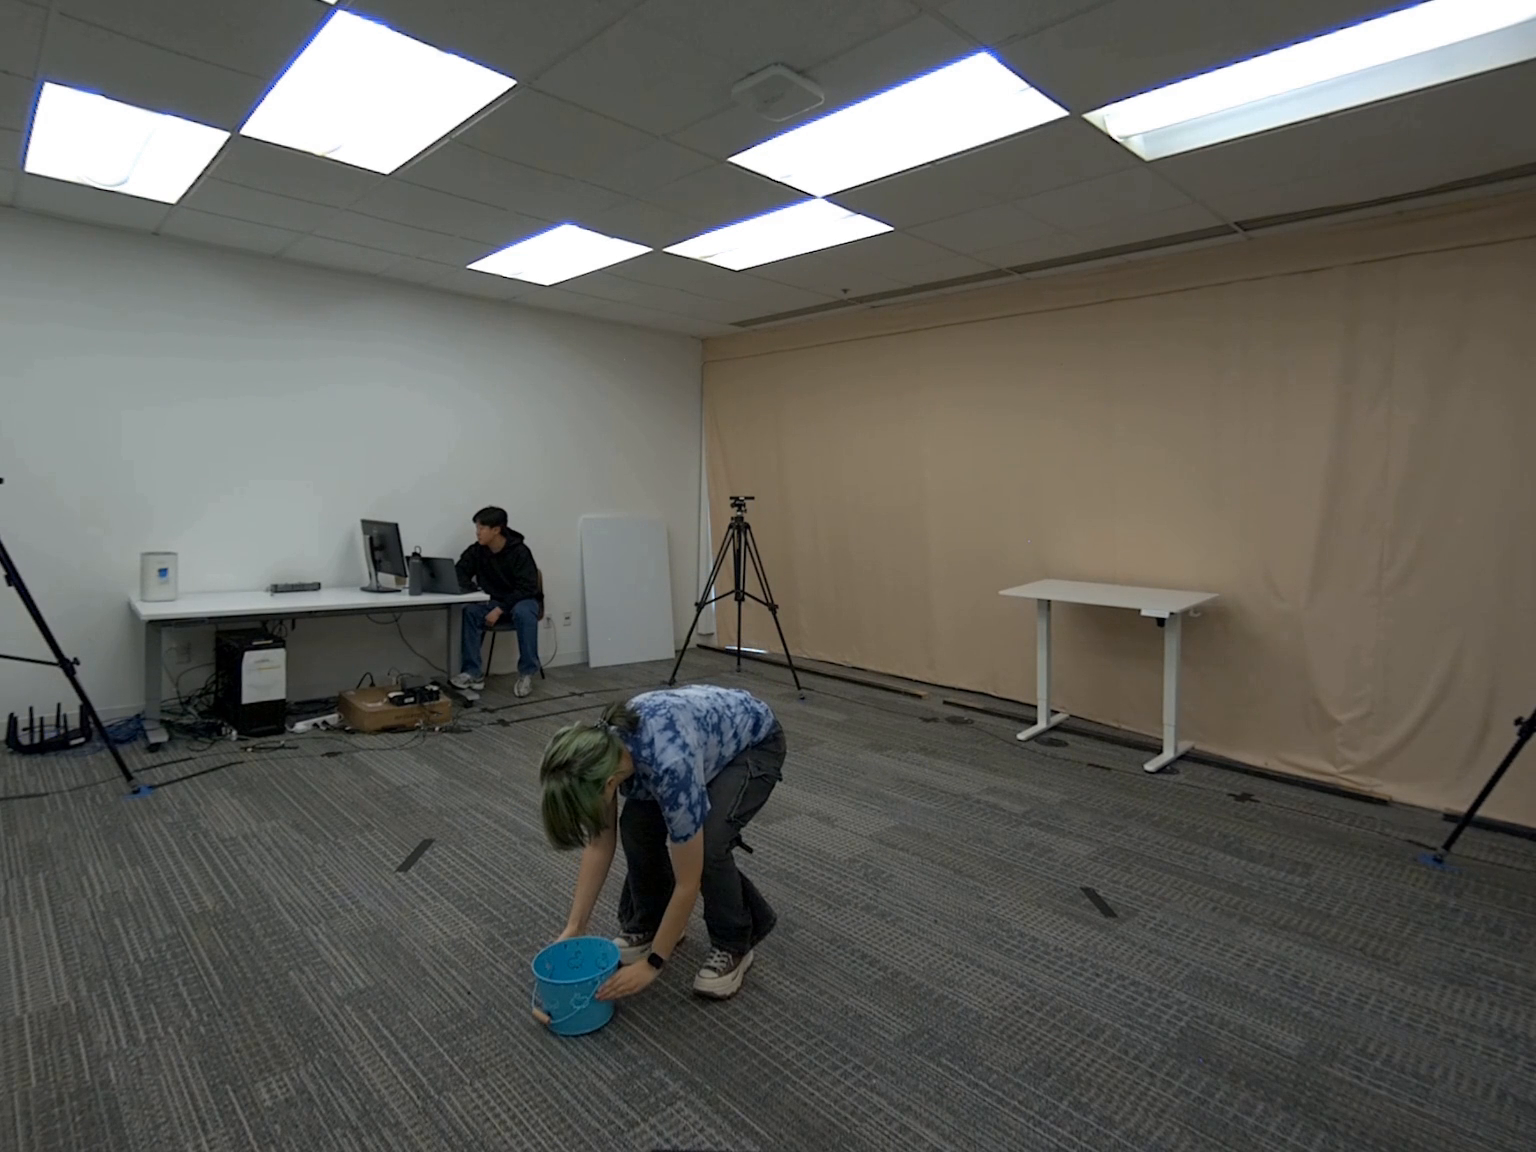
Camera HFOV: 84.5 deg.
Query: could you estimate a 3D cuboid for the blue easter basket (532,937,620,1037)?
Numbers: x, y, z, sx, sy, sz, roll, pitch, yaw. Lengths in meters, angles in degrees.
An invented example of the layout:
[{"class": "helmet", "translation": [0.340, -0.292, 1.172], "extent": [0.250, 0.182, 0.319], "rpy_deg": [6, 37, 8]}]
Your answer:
[{"class": "blue easter basket", "translation": [-0.522, 1.095, 2.233], "extent": [0.243, 0.155, 0.244], "rpy_deg": [-2, 5, -1]}]
